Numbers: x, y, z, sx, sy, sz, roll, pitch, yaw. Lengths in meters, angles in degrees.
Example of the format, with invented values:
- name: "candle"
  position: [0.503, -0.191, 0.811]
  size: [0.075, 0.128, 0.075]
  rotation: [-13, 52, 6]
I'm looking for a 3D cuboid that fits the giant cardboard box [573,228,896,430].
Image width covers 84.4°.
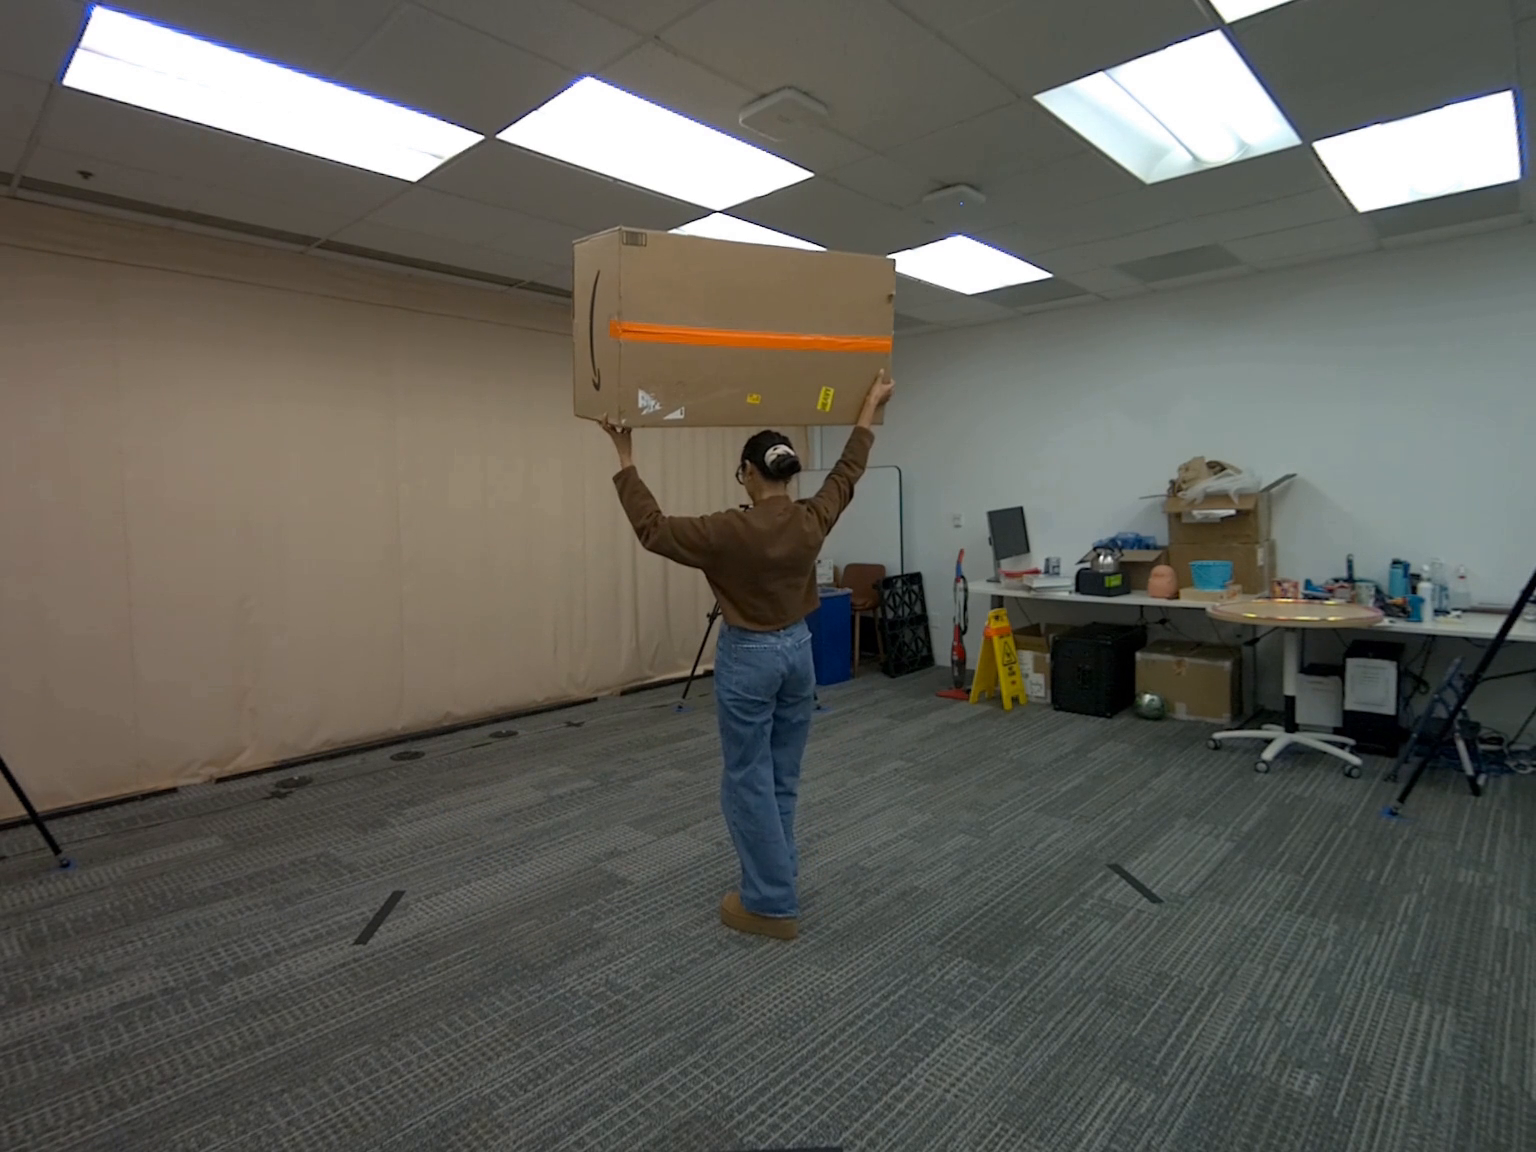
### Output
- name: "giant cardboard box"
  position: [-0.109, -0.815, 2.893]
  size: [1.000, 0.573, 0.440]
  rotation: [-6, 17, -29]
